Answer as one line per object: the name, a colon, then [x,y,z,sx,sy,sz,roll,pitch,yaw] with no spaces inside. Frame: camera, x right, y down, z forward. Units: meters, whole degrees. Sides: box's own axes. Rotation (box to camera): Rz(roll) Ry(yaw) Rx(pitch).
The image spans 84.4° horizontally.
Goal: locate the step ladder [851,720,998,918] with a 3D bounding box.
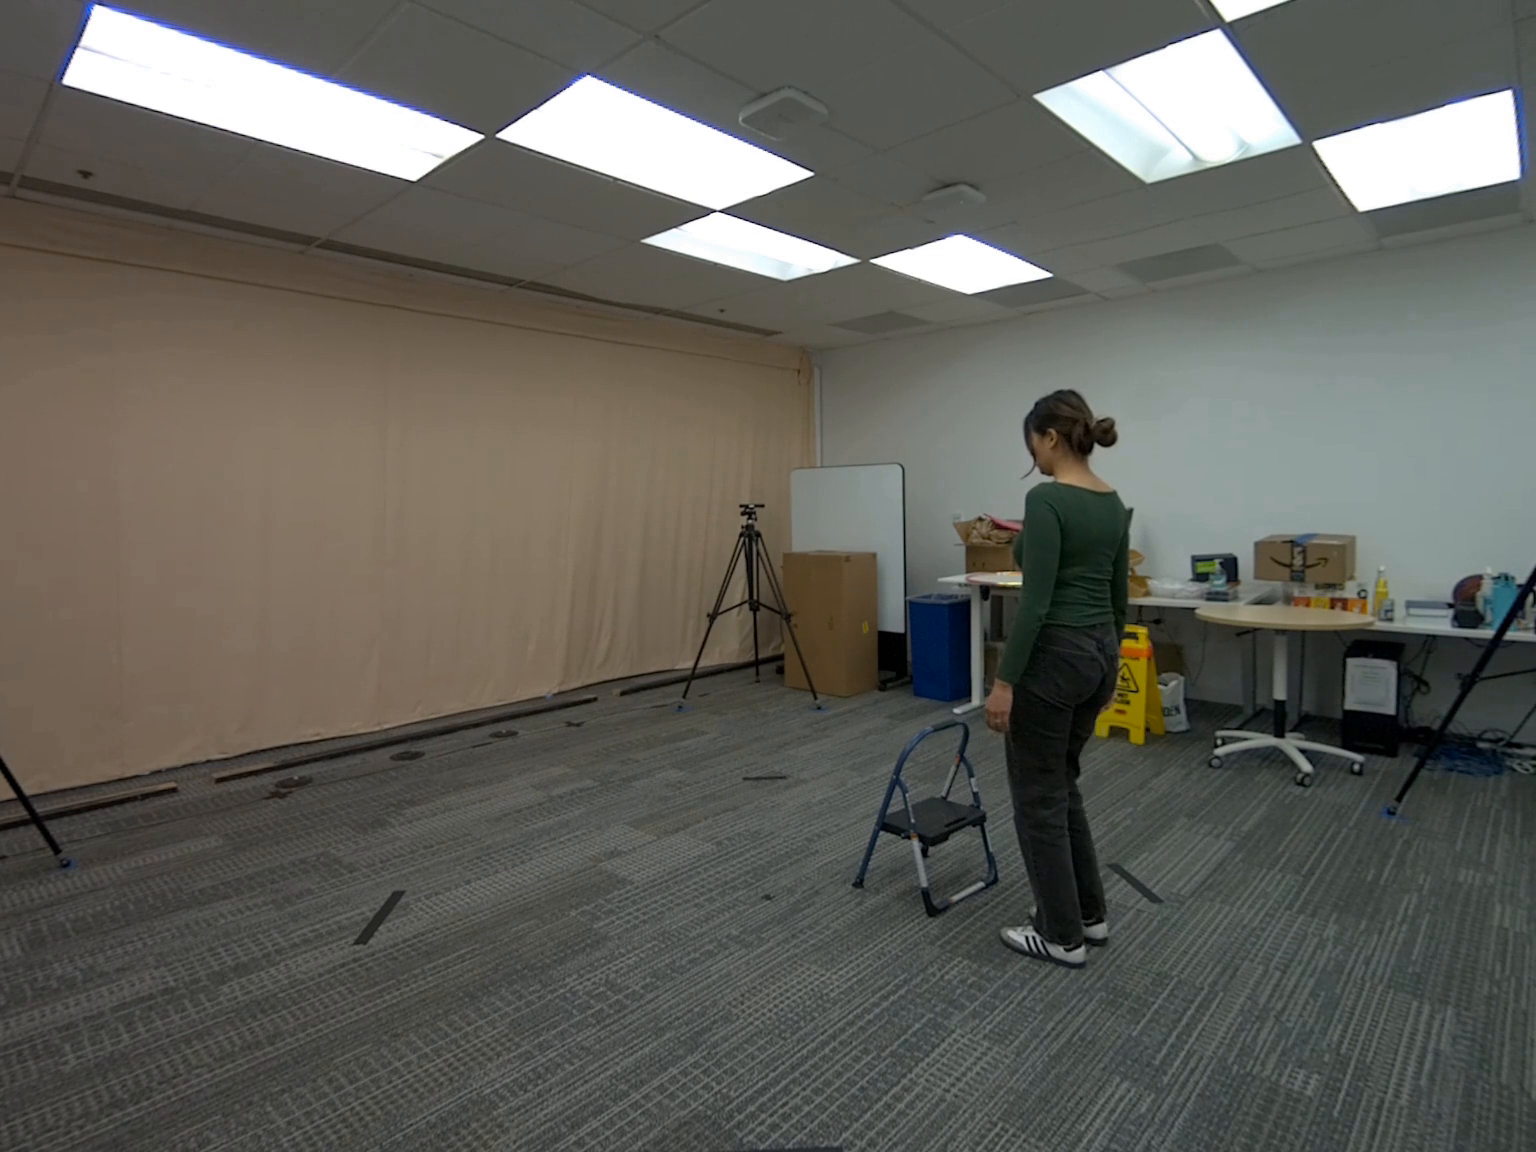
step ladder: [0.576,0.818,3.055,0.417,0.604,0.361,-4,5,-43]
